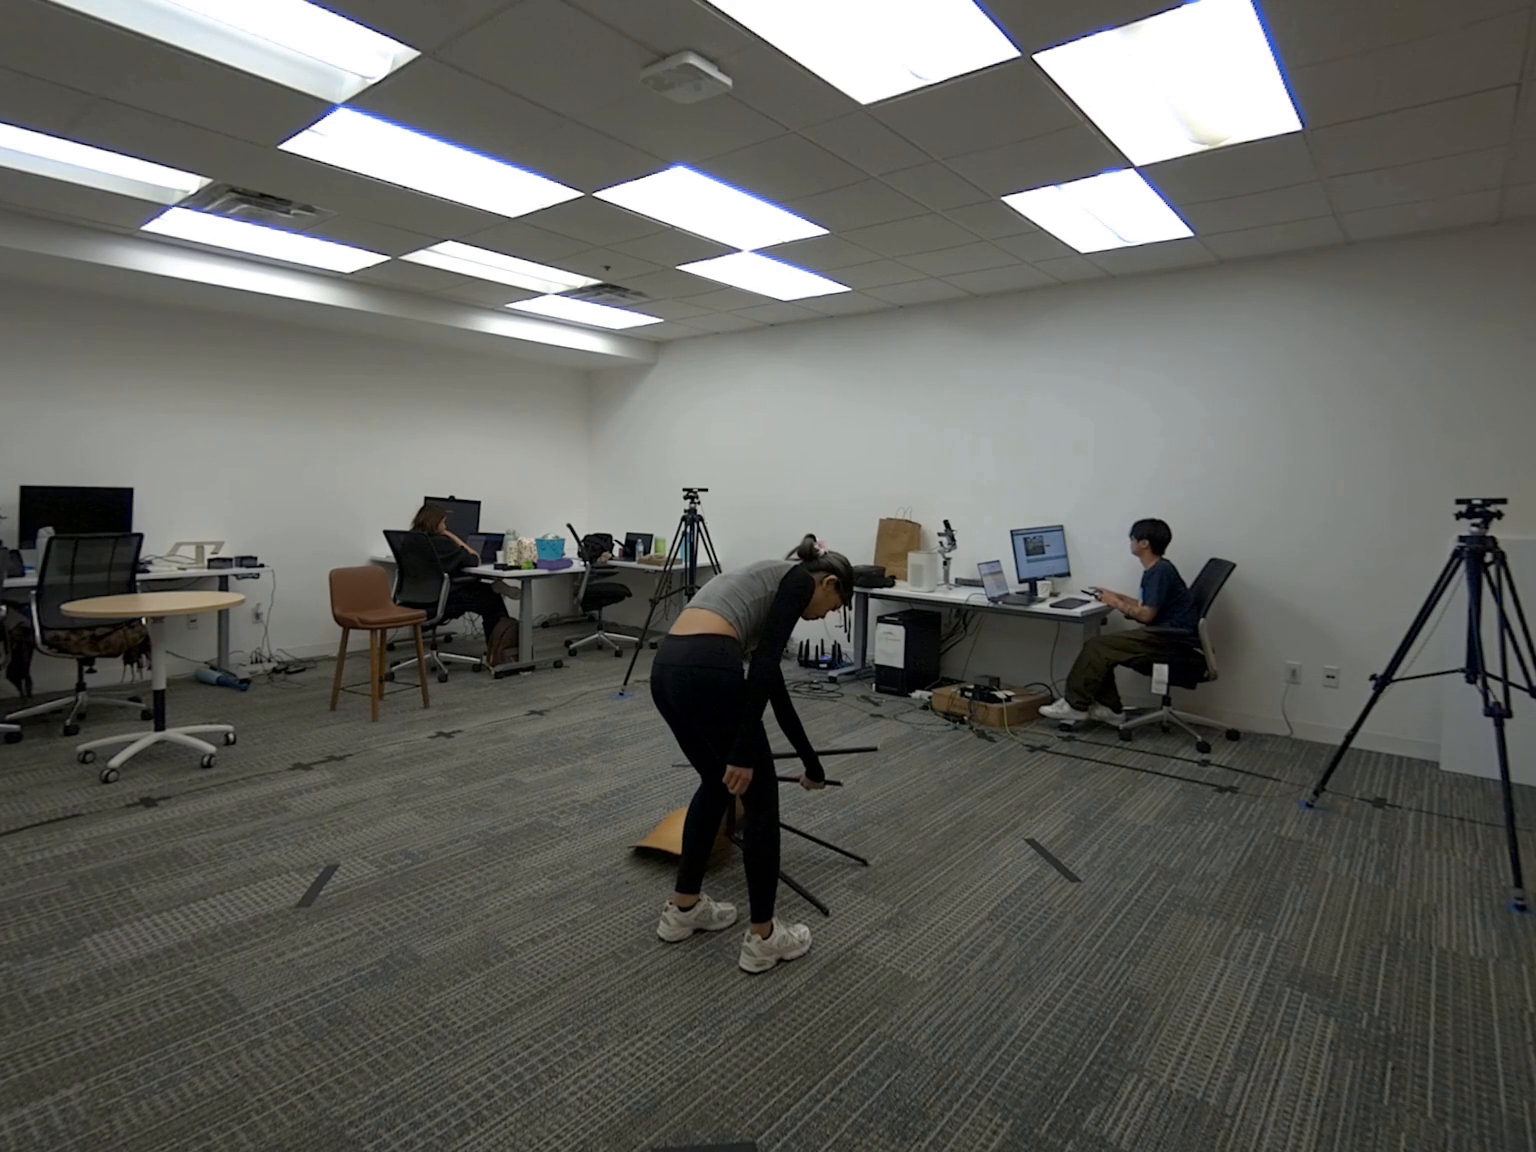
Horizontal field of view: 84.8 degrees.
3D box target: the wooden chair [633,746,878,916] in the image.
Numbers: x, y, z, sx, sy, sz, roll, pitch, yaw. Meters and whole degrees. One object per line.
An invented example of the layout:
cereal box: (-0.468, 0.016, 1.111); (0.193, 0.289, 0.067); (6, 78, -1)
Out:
wooden chair: (-0.090, 0.808, 3.149); (0.900, 0.522, 0.467); (2, 4, 25)
